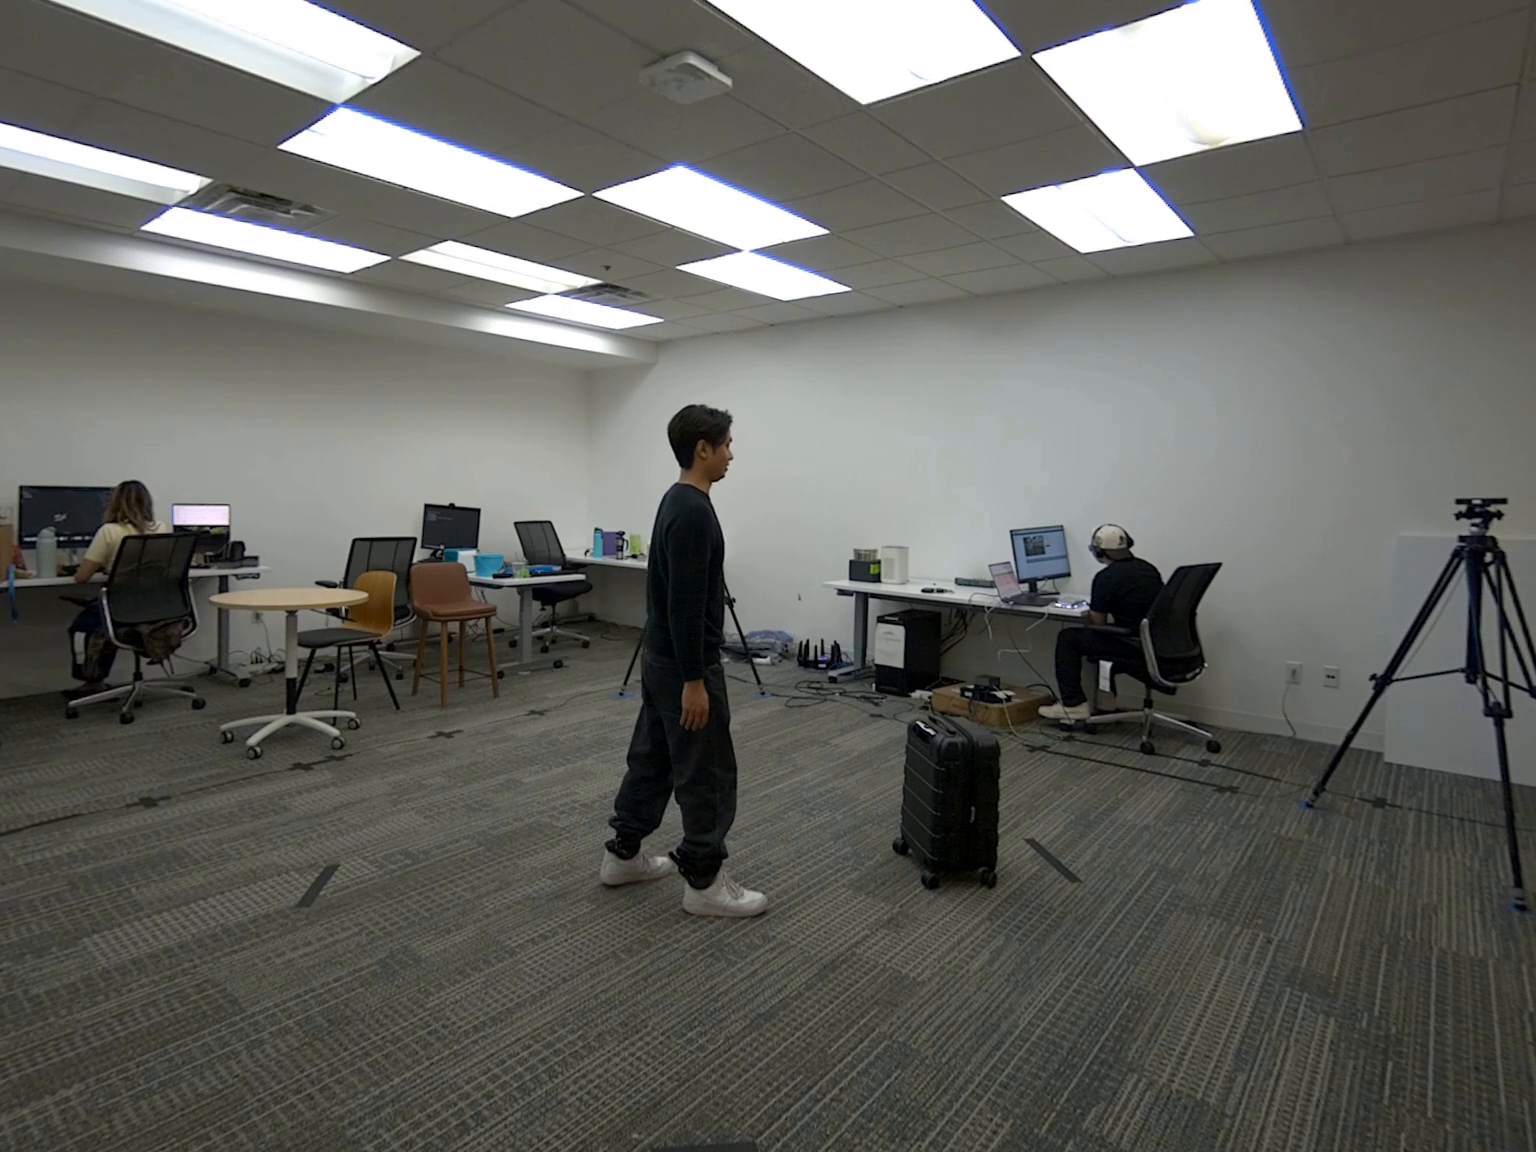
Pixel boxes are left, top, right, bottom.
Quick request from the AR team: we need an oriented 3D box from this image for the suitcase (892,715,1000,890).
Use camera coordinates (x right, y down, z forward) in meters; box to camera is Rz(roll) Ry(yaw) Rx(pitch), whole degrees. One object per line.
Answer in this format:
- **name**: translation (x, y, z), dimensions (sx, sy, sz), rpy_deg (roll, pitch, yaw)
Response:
- **suitcase**: translation (0.662, 0.806, 3.163), dimensions (0.246, 0.548, 0.380), rpy_deg (0, 3, -10)
